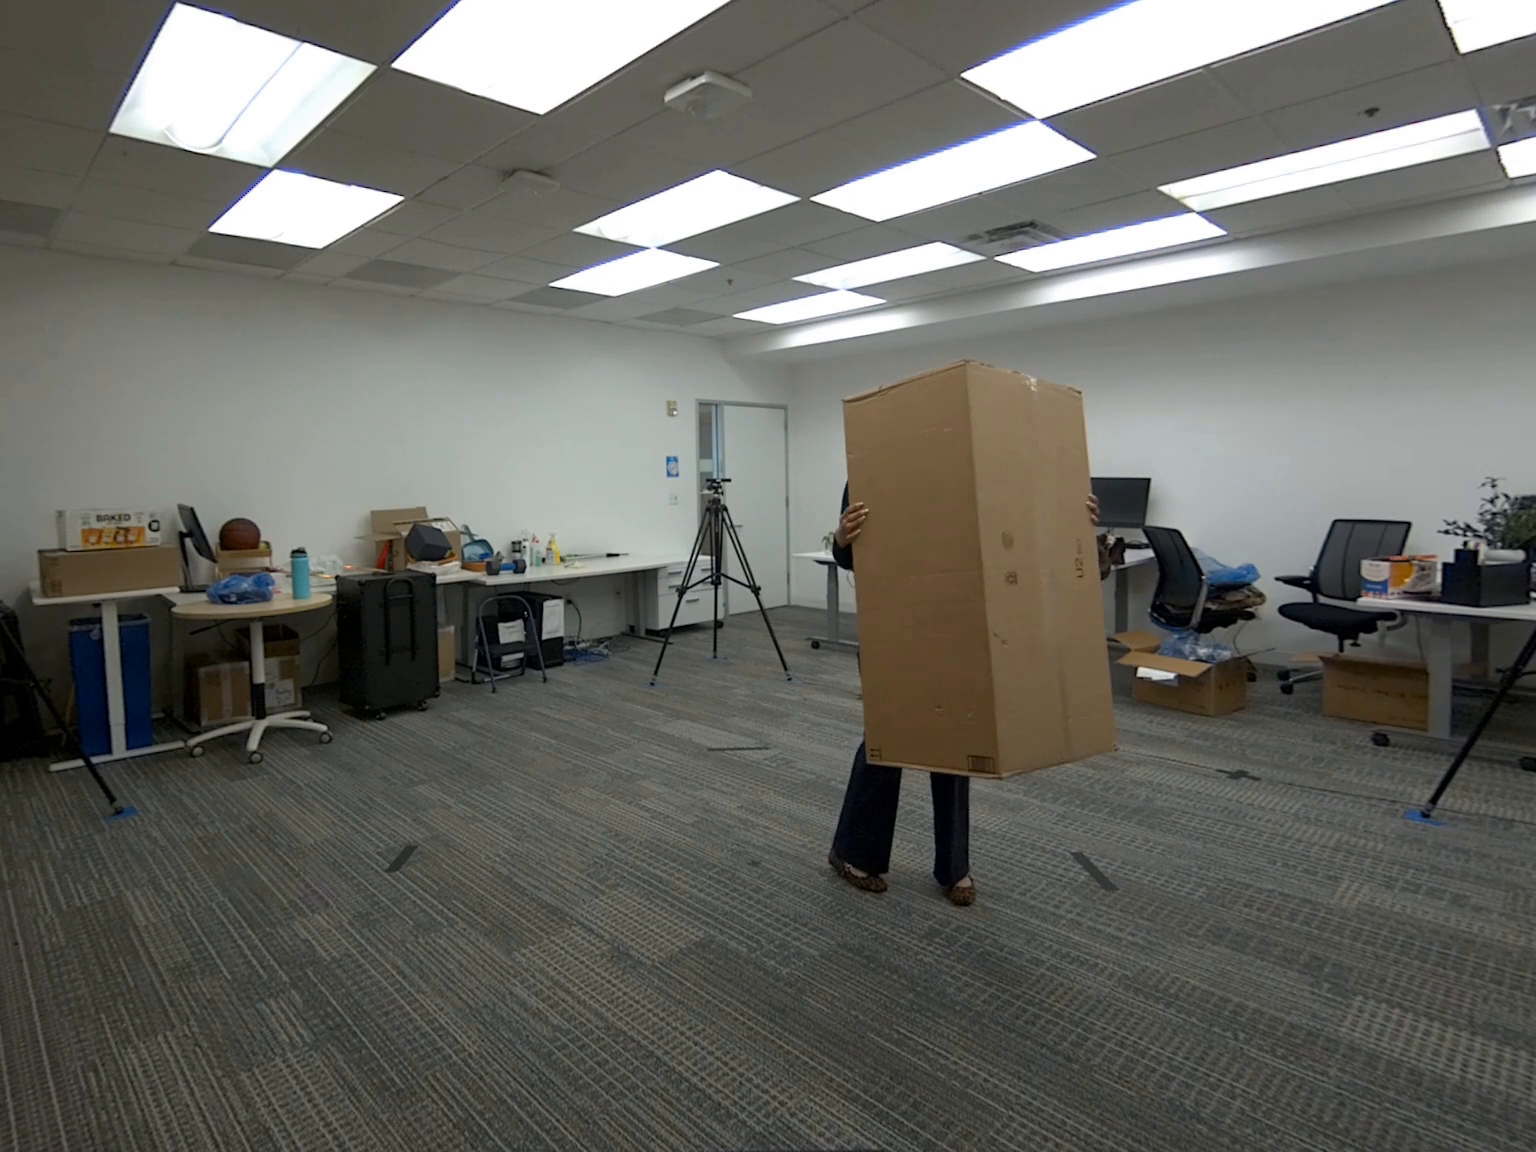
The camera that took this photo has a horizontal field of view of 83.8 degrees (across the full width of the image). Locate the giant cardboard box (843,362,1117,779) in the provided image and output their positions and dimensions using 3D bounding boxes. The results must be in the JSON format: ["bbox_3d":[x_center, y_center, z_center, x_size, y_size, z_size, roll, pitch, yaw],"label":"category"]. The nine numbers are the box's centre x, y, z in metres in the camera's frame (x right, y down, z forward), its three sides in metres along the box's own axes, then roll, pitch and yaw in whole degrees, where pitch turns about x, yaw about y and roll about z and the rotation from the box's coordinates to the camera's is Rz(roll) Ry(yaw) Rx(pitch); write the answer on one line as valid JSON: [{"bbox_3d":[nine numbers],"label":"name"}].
[{"bbox_3d":[0.589,-0.010,2.406,0.561,1.032,0.436,2,-8,-40],"label":"giant cardboard box"}]
